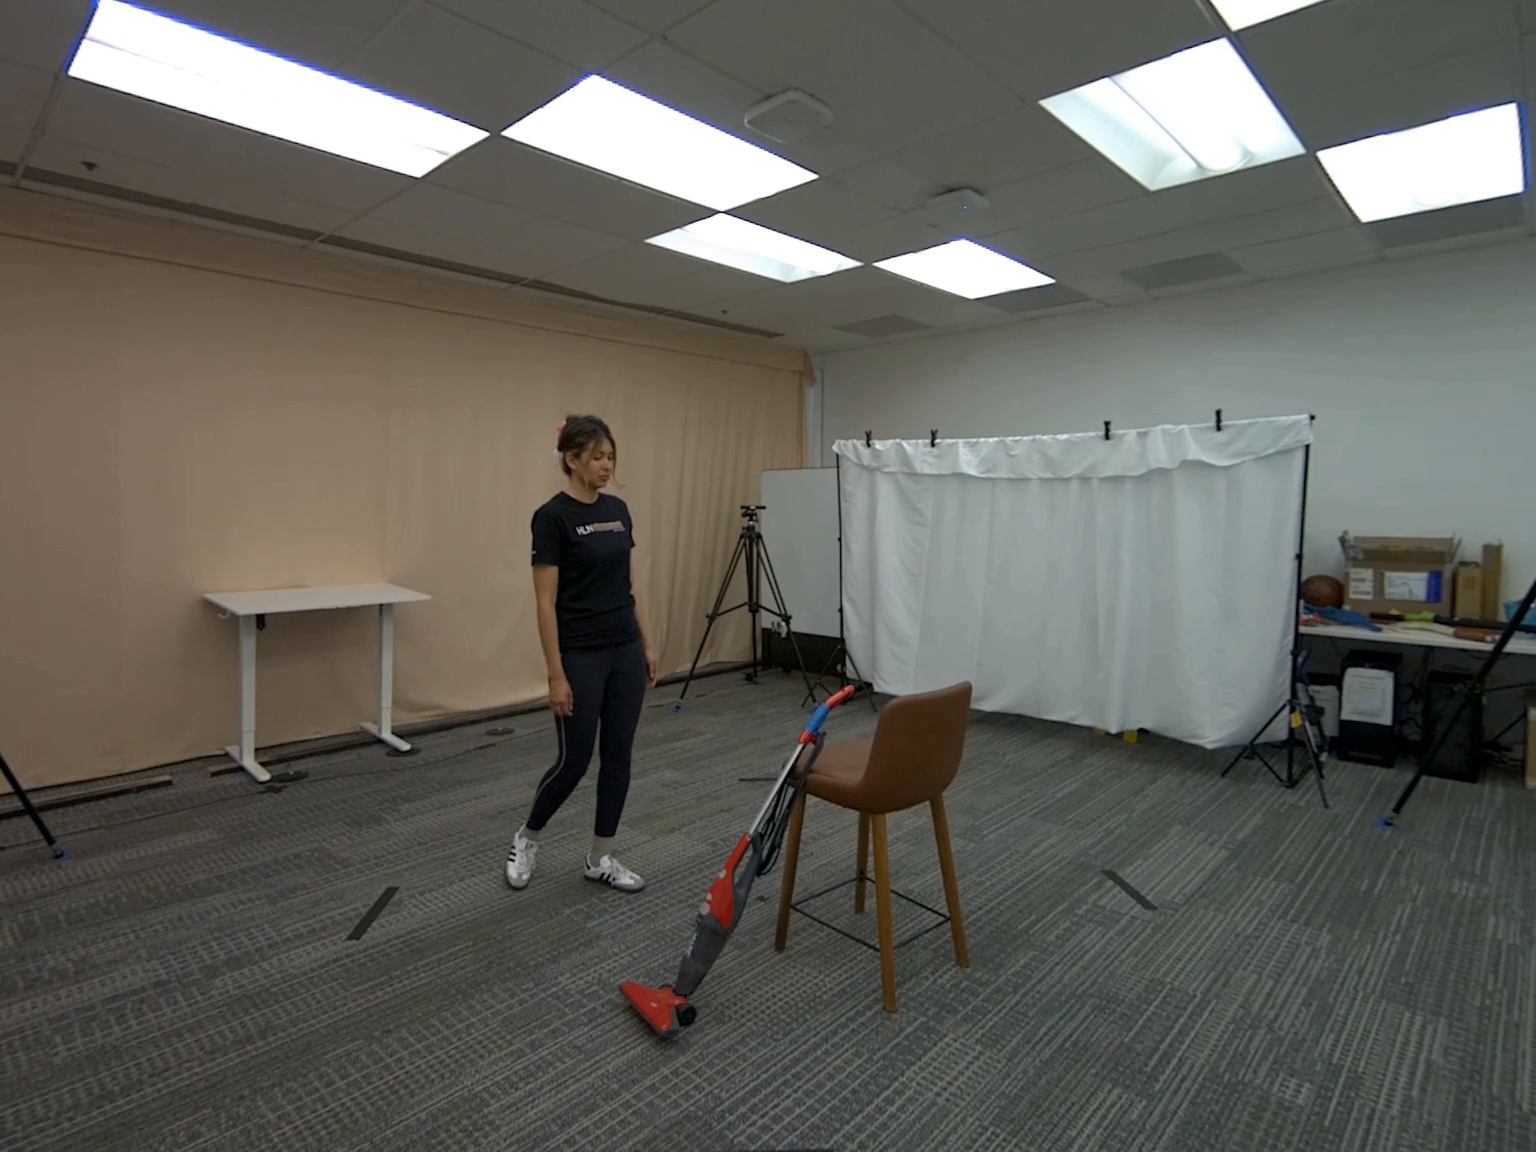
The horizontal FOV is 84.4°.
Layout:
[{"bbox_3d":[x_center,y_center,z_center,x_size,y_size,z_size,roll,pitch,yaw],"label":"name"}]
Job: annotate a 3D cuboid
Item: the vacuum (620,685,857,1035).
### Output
[{"bbox_3d":[-0.032,0.775,2.427,0.261,1.048,0.139,9,-29,51],"label":"vacuum"}]
